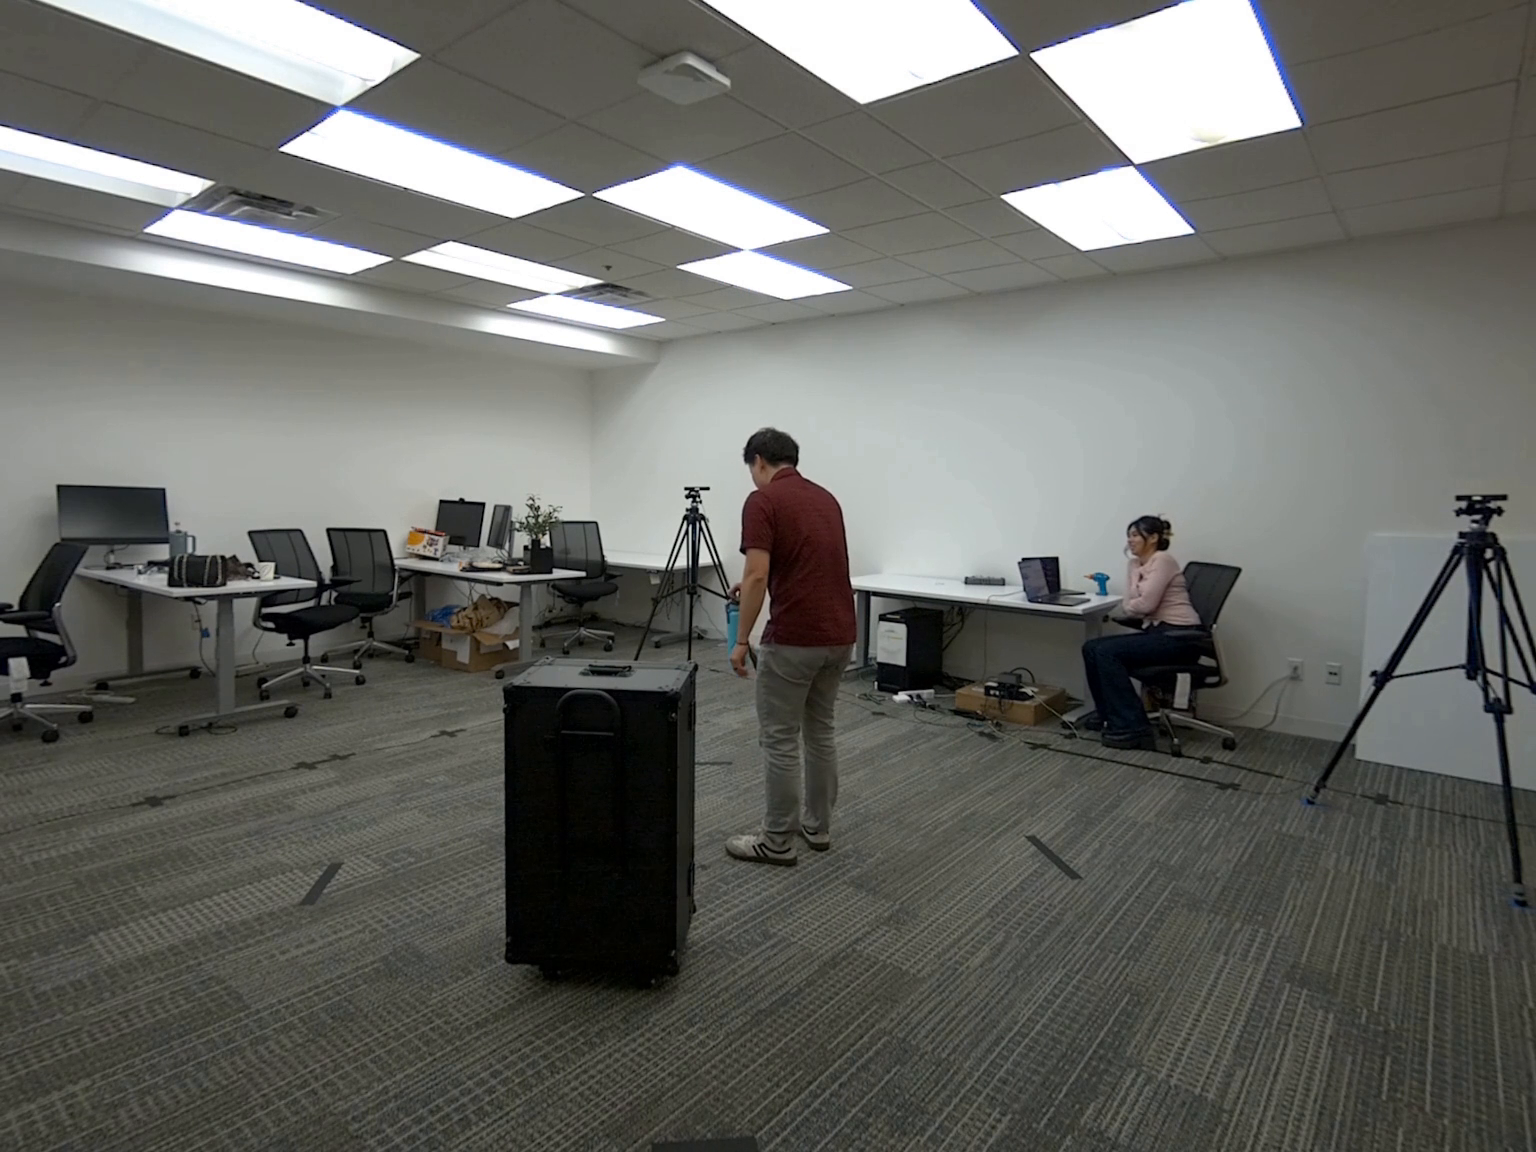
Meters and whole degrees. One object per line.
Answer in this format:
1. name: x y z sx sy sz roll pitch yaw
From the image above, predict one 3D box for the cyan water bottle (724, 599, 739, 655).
1. cyan water bottle: -0.139 0.235 3.629 0.092 0.283 0.092 -3 0 -2
